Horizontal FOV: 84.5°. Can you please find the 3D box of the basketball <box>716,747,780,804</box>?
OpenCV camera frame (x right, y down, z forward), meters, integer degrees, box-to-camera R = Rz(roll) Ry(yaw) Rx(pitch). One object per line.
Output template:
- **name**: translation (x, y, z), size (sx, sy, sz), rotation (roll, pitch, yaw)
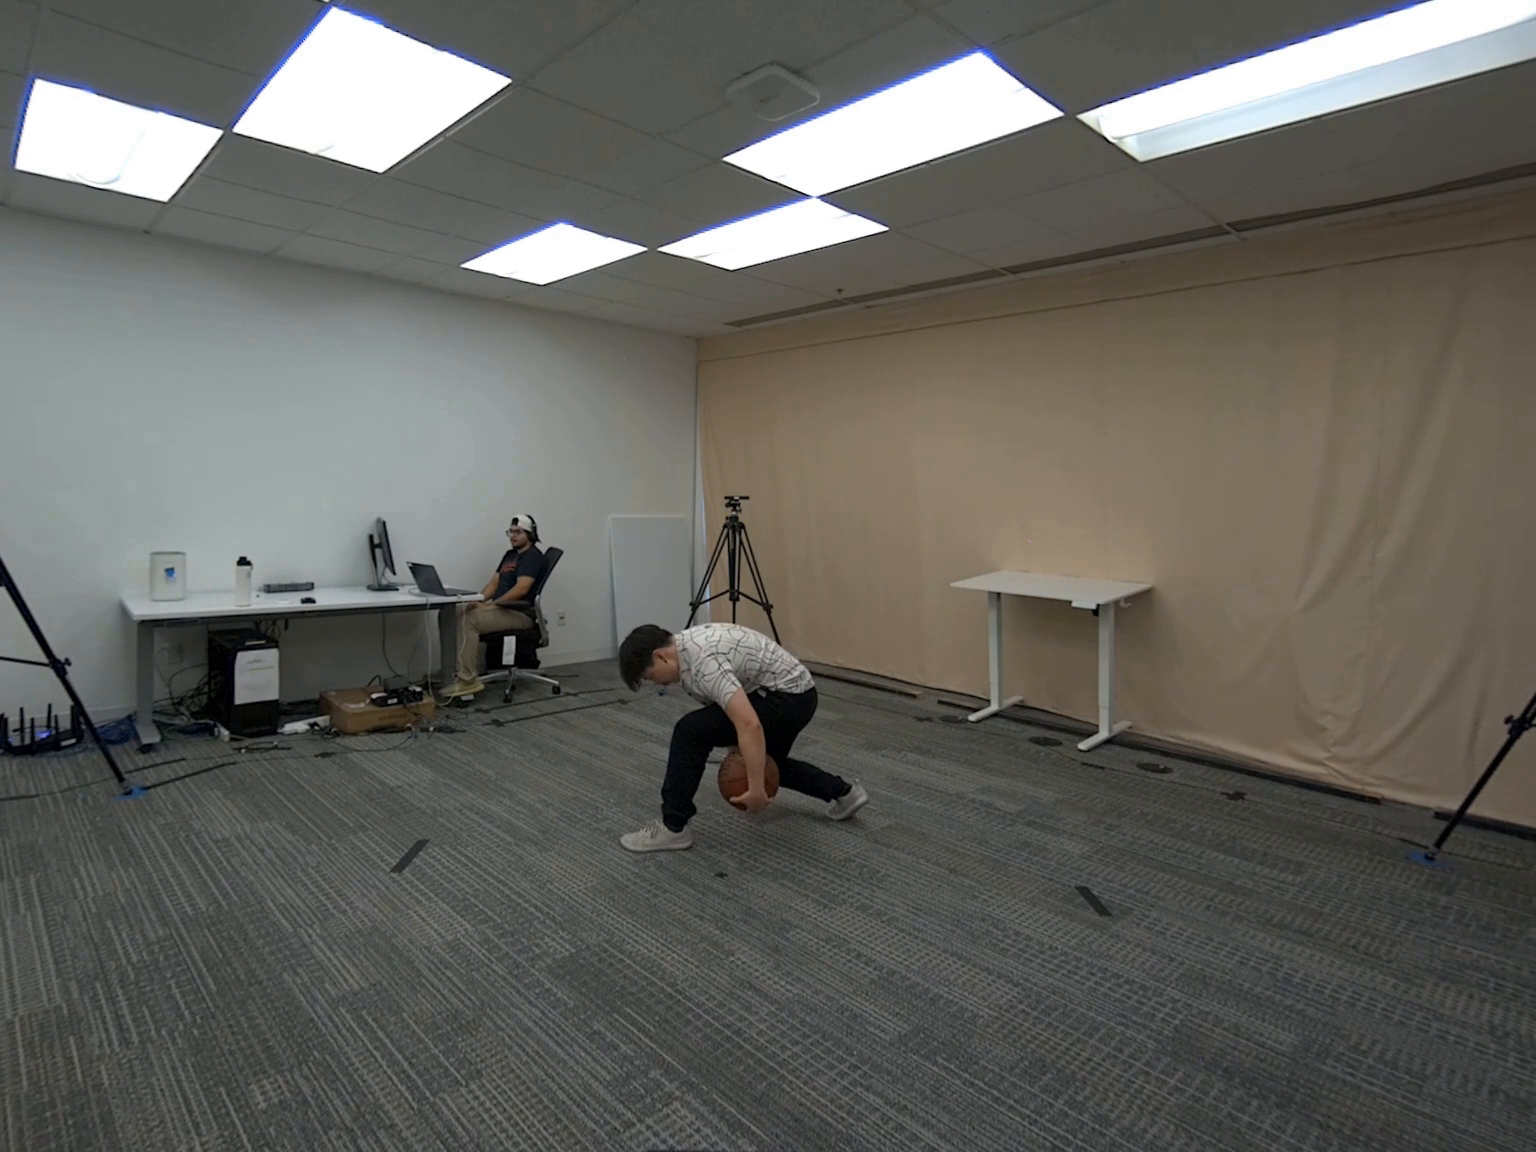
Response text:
- **basketball**: translation (-0.097, 0.770, 3.250), size (0.236, 0.235, 0.237), rotation (1, 4, -1)
